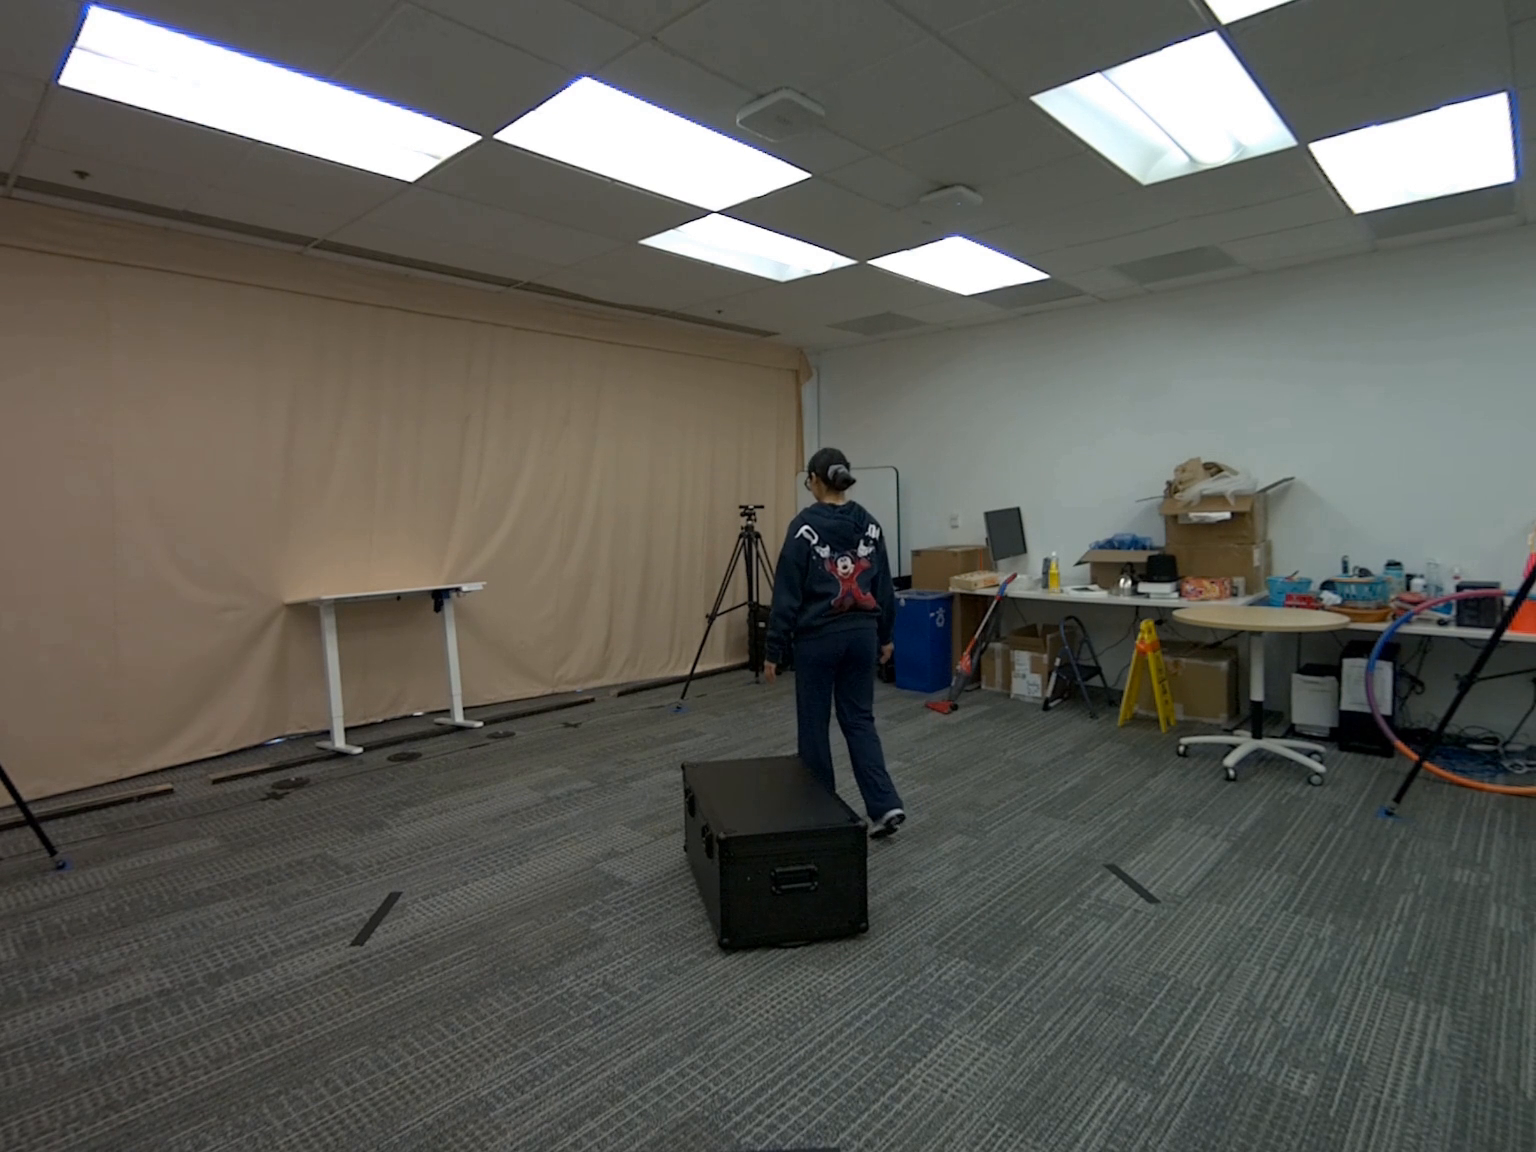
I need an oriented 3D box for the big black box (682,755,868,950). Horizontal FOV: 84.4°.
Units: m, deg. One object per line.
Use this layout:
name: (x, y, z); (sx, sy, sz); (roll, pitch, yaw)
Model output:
big black box: (-0.017, 0.945, 3.041); (0.515, 0.395, 0.874); (-2, 4, -13)
